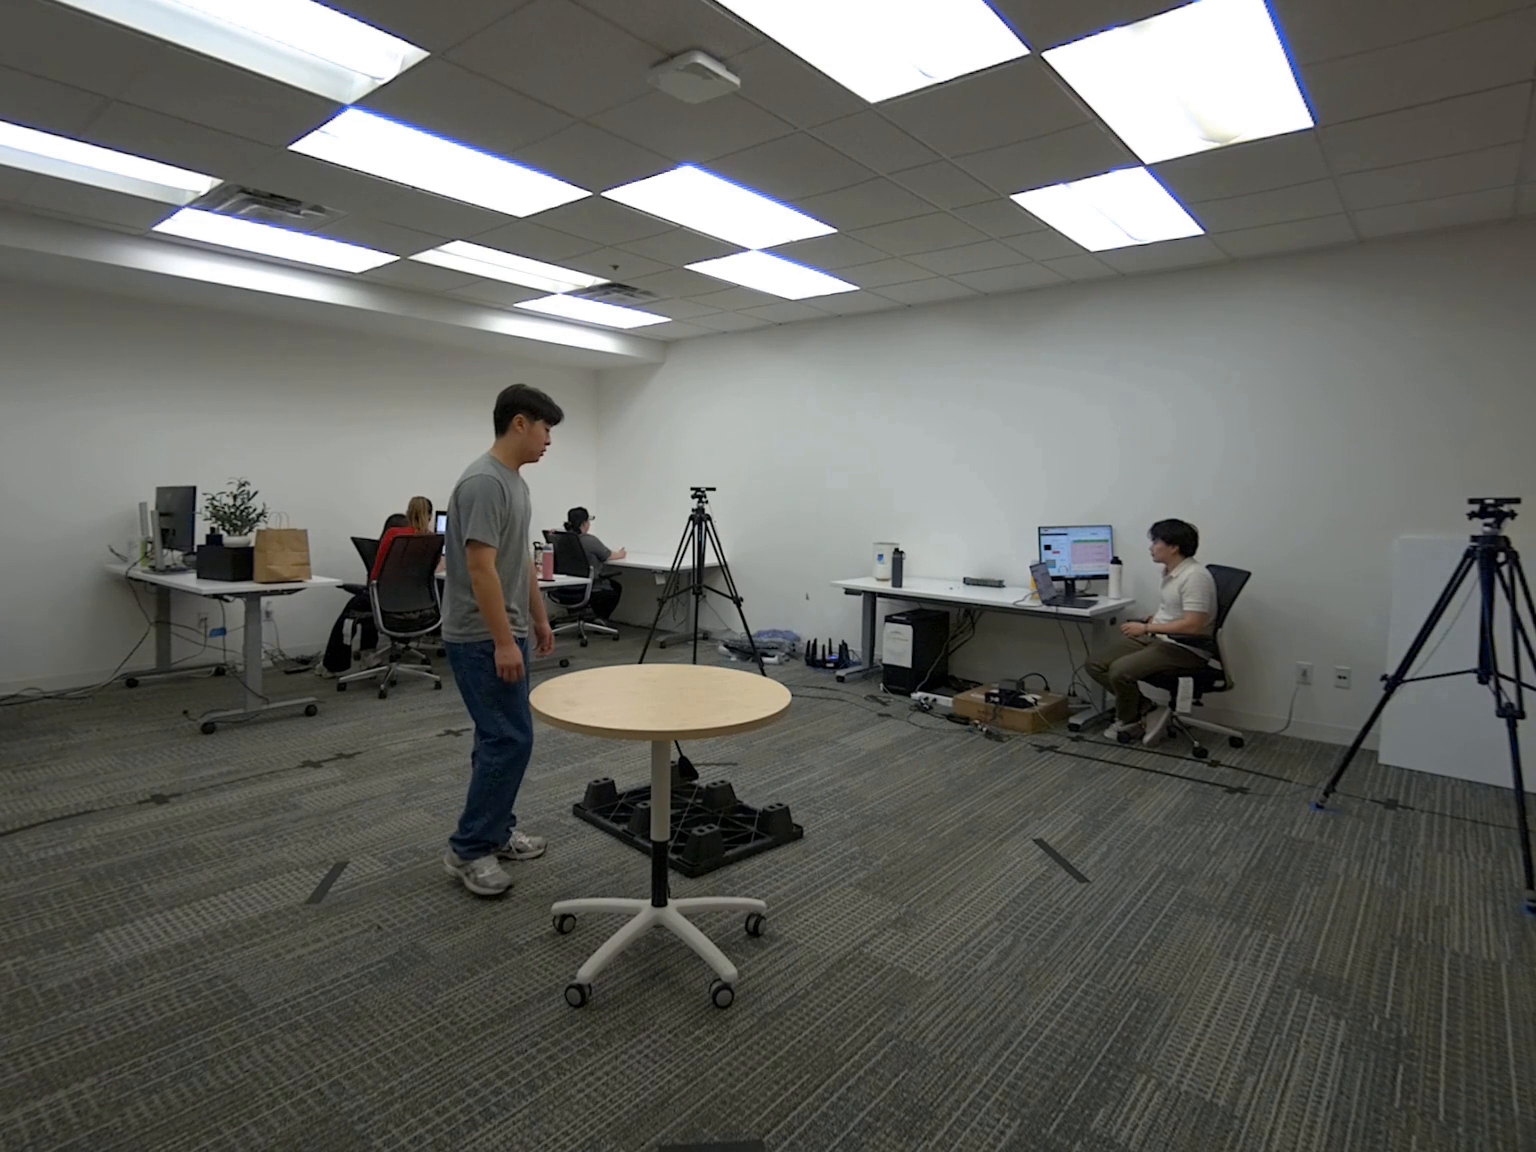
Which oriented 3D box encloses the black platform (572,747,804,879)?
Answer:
[{"bbox_3d":[-0.357,0.959,3.504,0.587,0.143,0.833,-4,7,-44],"label":"black platform"}]
